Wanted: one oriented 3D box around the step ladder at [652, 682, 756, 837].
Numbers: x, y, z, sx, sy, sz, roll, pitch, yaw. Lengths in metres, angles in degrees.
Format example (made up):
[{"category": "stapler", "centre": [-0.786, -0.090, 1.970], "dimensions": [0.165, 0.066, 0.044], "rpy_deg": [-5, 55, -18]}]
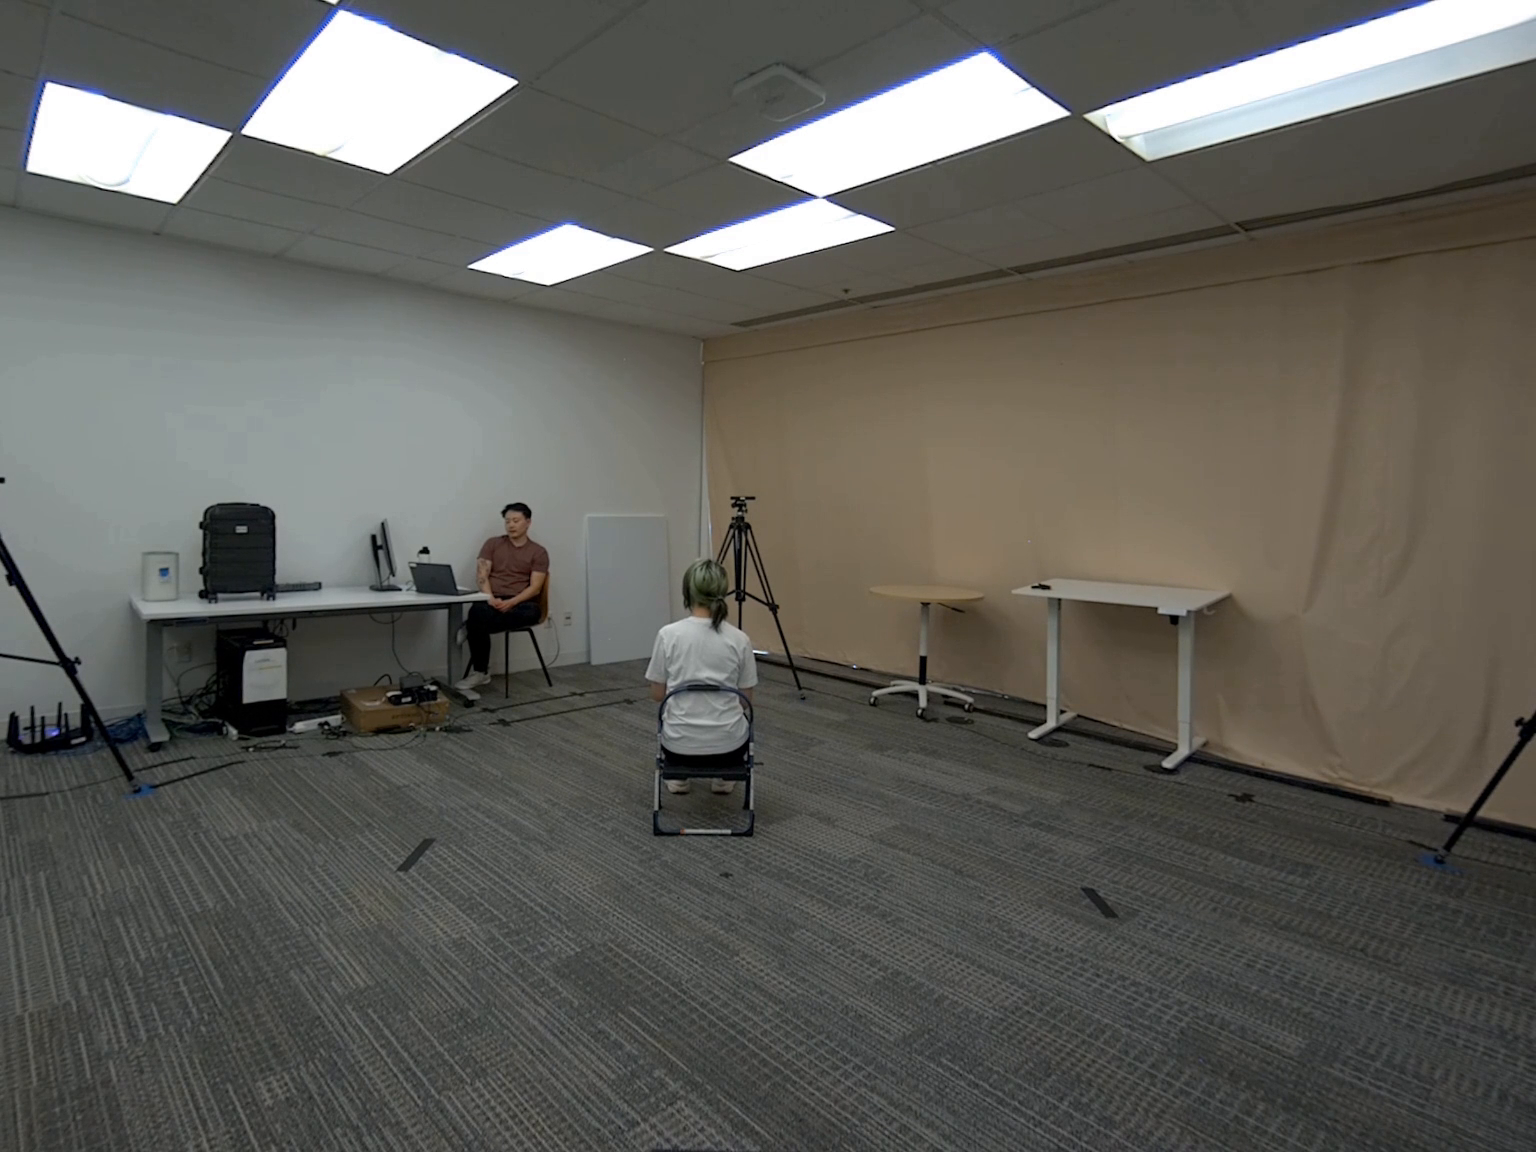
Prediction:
[{"category": "step ladder", "centre": [-0.282, 0.759, 3.614], "dimensions": [0.429, 0.605, 0.351], "rpy_deg": [1, 2, -5]}]
